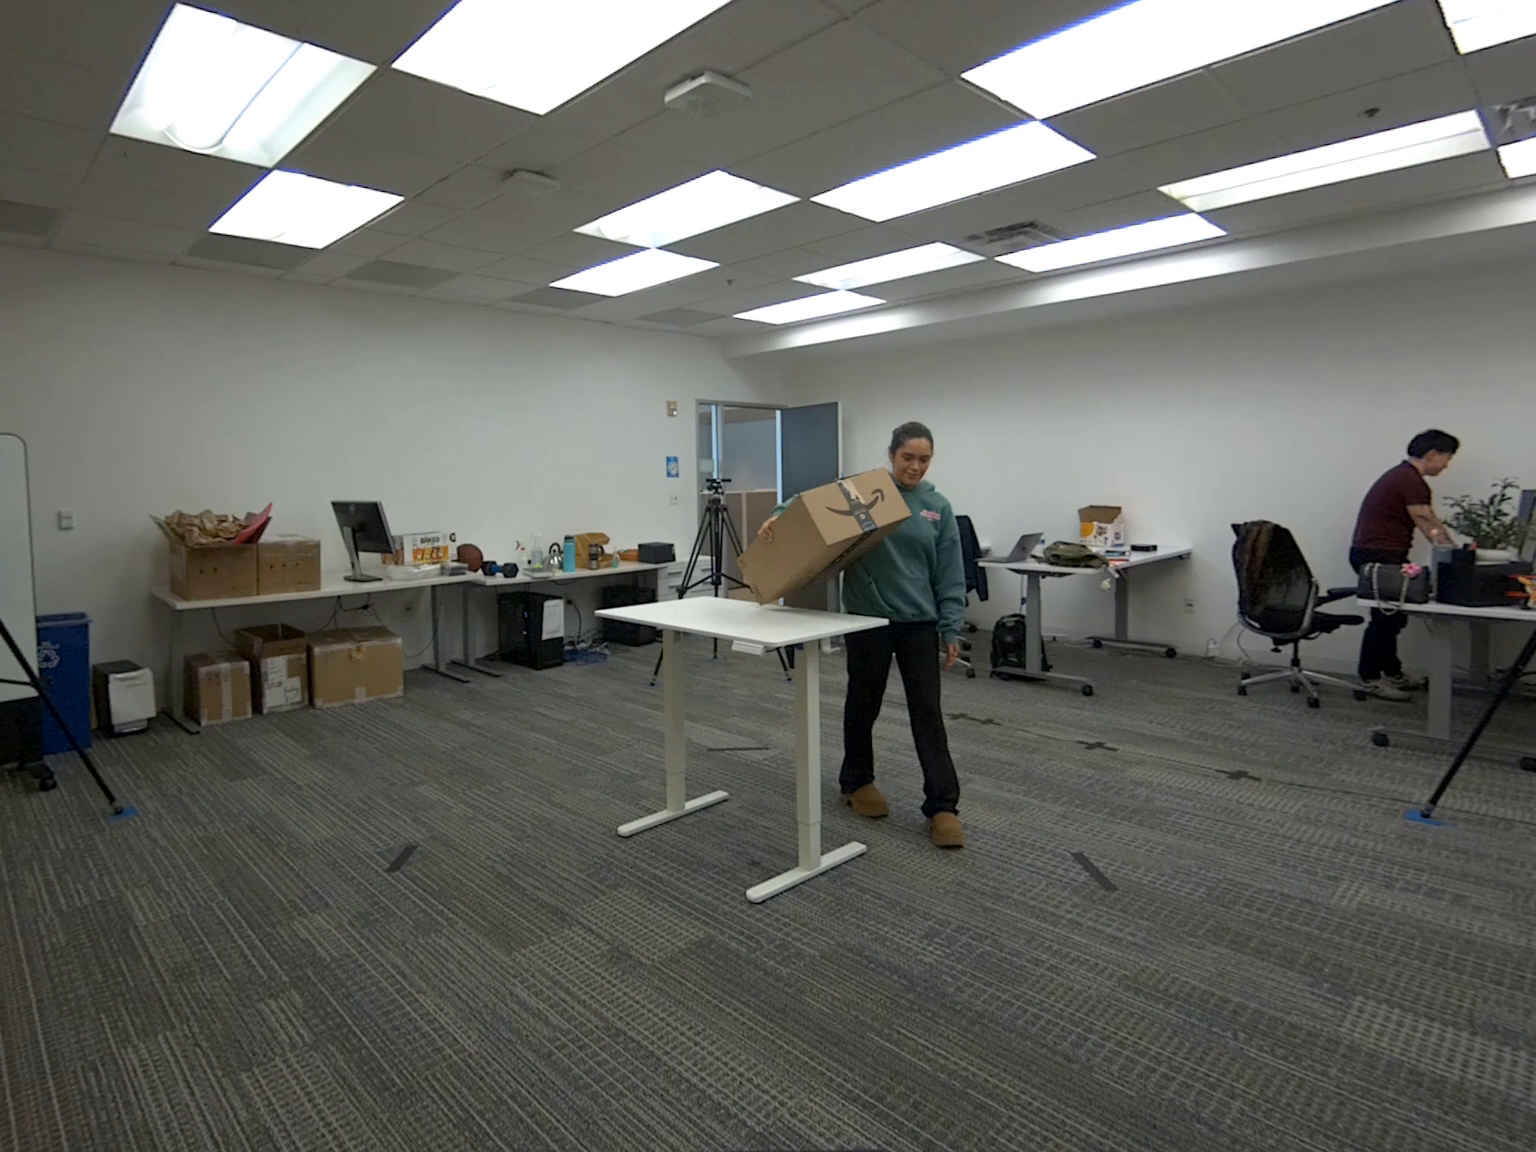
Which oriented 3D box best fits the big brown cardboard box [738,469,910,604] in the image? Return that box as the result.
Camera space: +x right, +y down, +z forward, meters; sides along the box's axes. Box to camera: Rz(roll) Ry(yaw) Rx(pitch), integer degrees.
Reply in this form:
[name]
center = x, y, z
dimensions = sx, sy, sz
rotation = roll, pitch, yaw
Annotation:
[big brown cardboard box]
center = 0.201, -0.147, 3.289
dimensions = 0.410, 0.237, 0.589
rotation = -20, -13, -33
